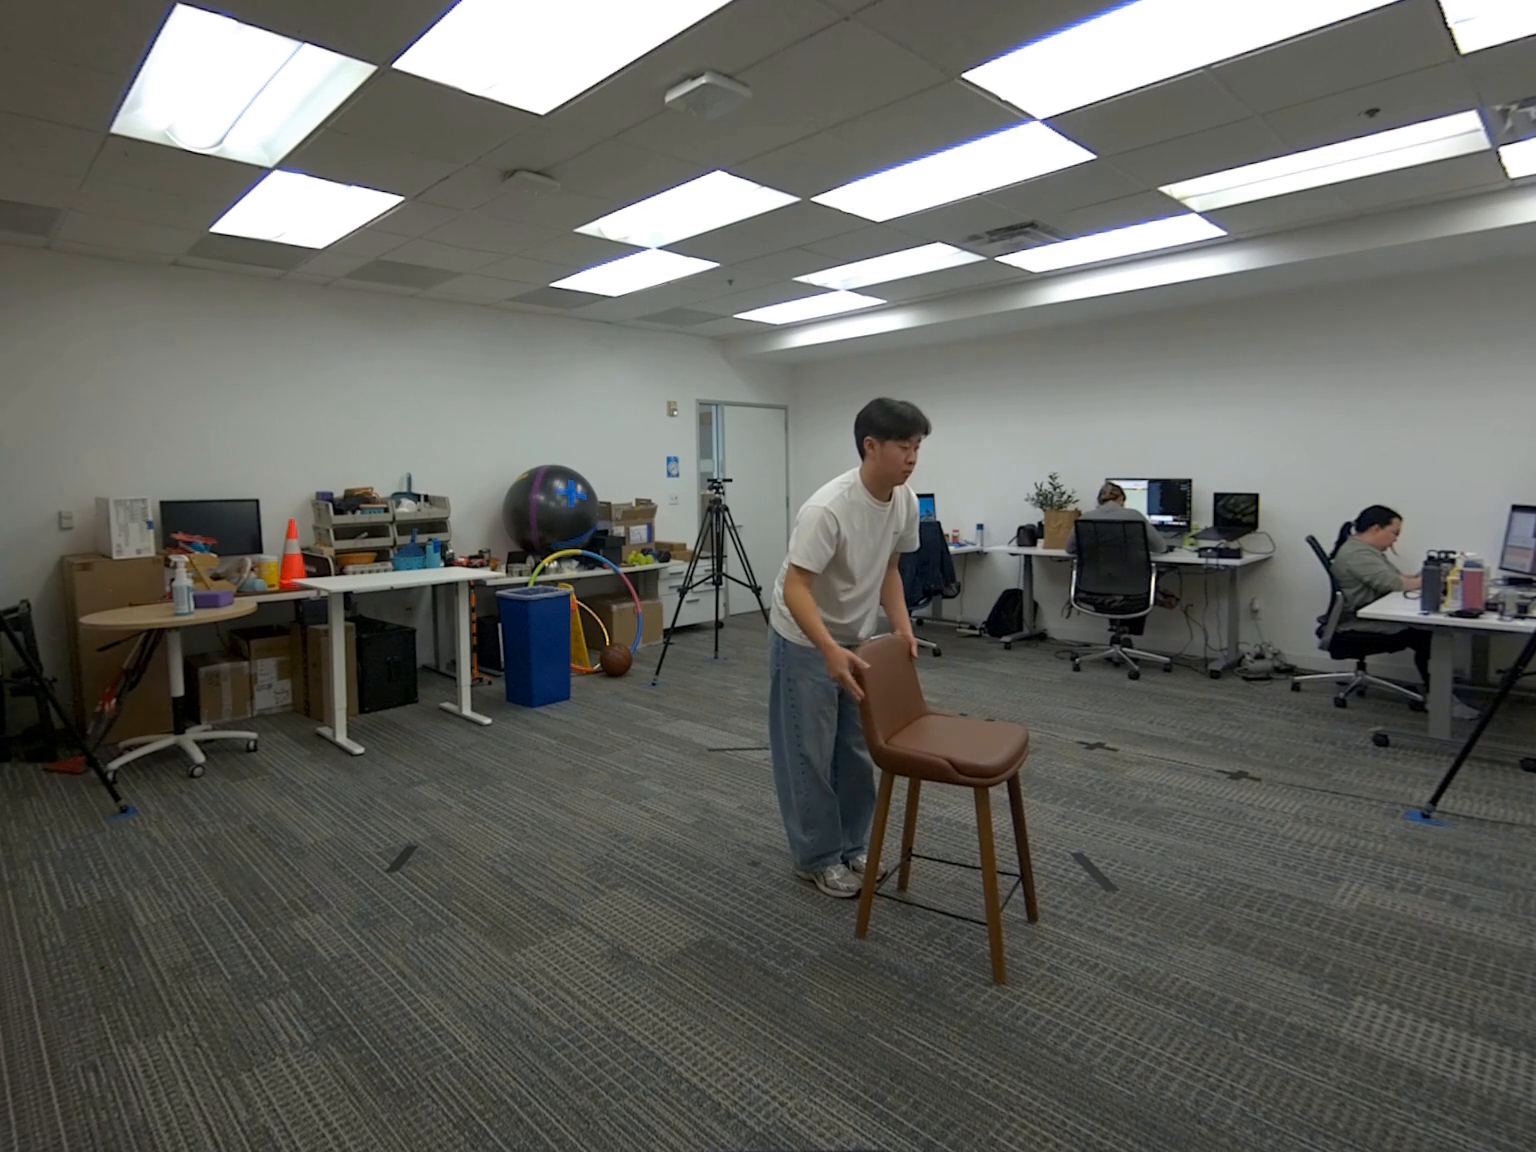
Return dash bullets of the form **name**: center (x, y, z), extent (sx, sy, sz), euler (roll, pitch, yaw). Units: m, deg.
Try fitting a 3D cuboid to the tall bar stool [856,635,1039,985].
- **tall bar stool**: center (0.539, 0.654, 2.608), extent (0.480, 0.887, 0.446), euler (-1, 4, 33)
